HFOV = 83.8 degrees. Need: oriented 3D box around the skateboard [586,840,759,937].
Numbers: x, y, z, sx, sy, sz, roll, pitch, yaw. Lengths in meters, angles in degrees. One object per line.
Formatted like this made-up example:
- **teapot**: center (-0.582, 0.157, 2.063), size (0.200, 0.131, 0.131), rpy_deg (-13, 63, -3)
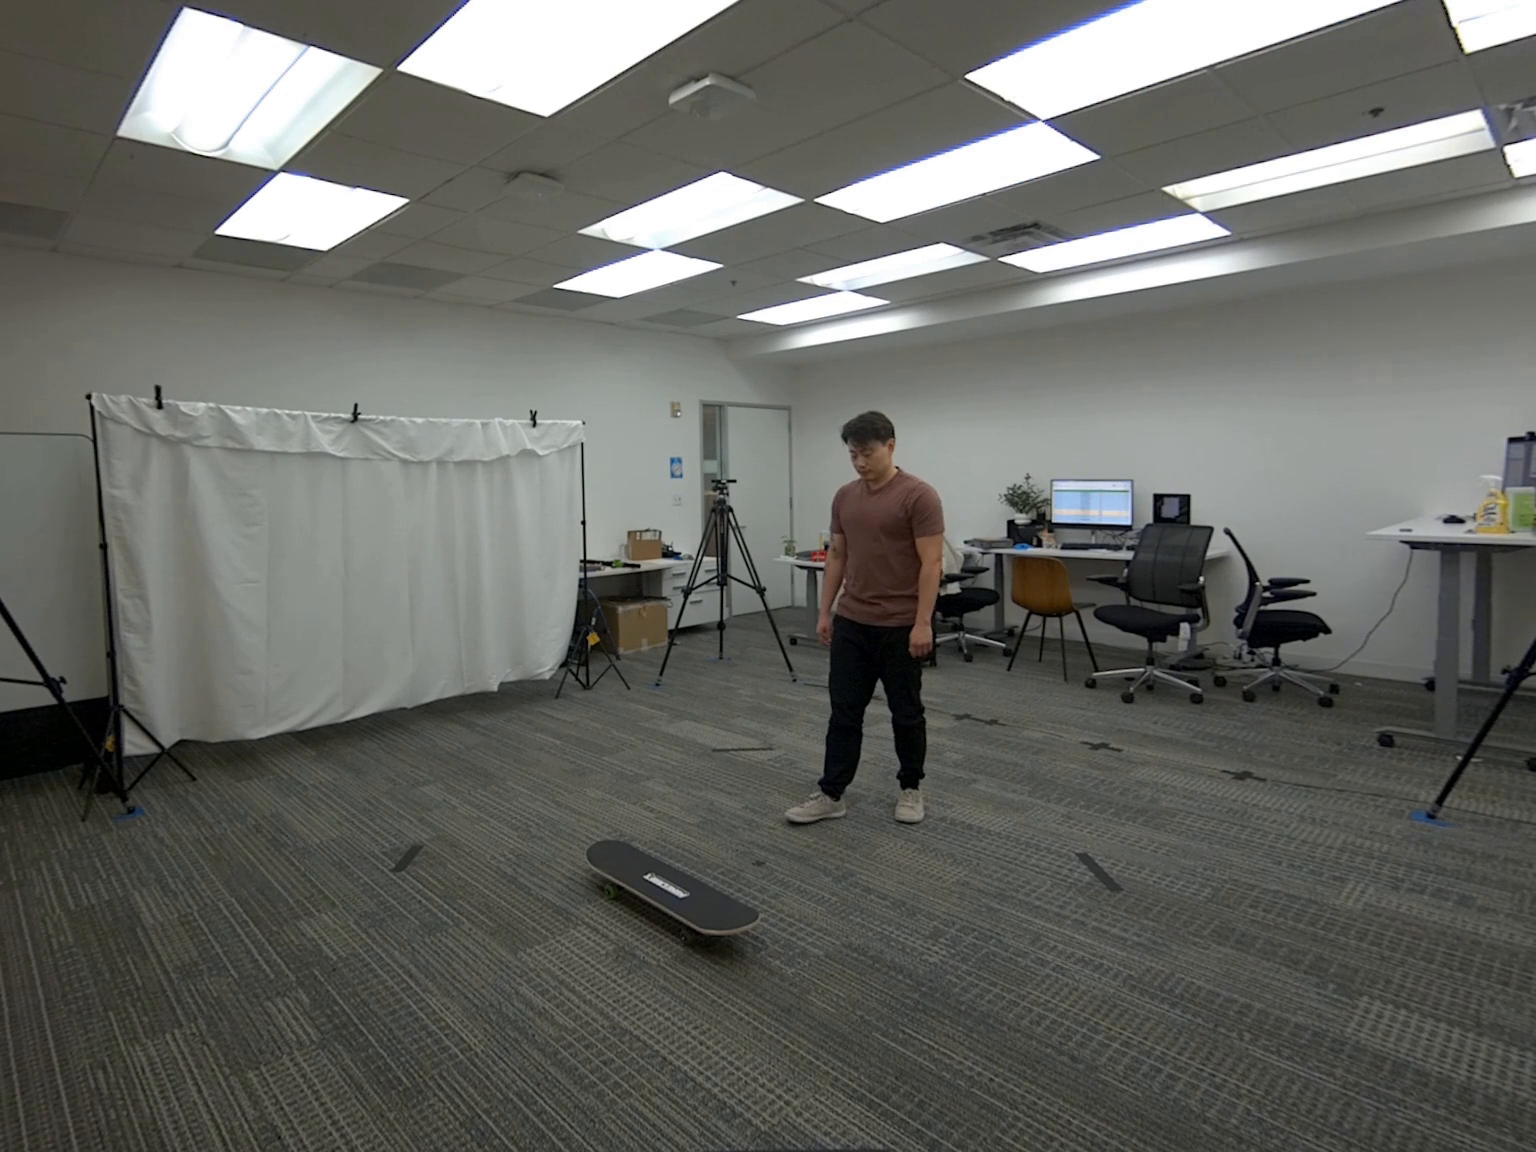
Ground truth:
- **skateboard**: center (-0.328, 1.038, 2.764), size (0.189, 0.110, 0.810), rpy_deg (-9, 10, -43)
